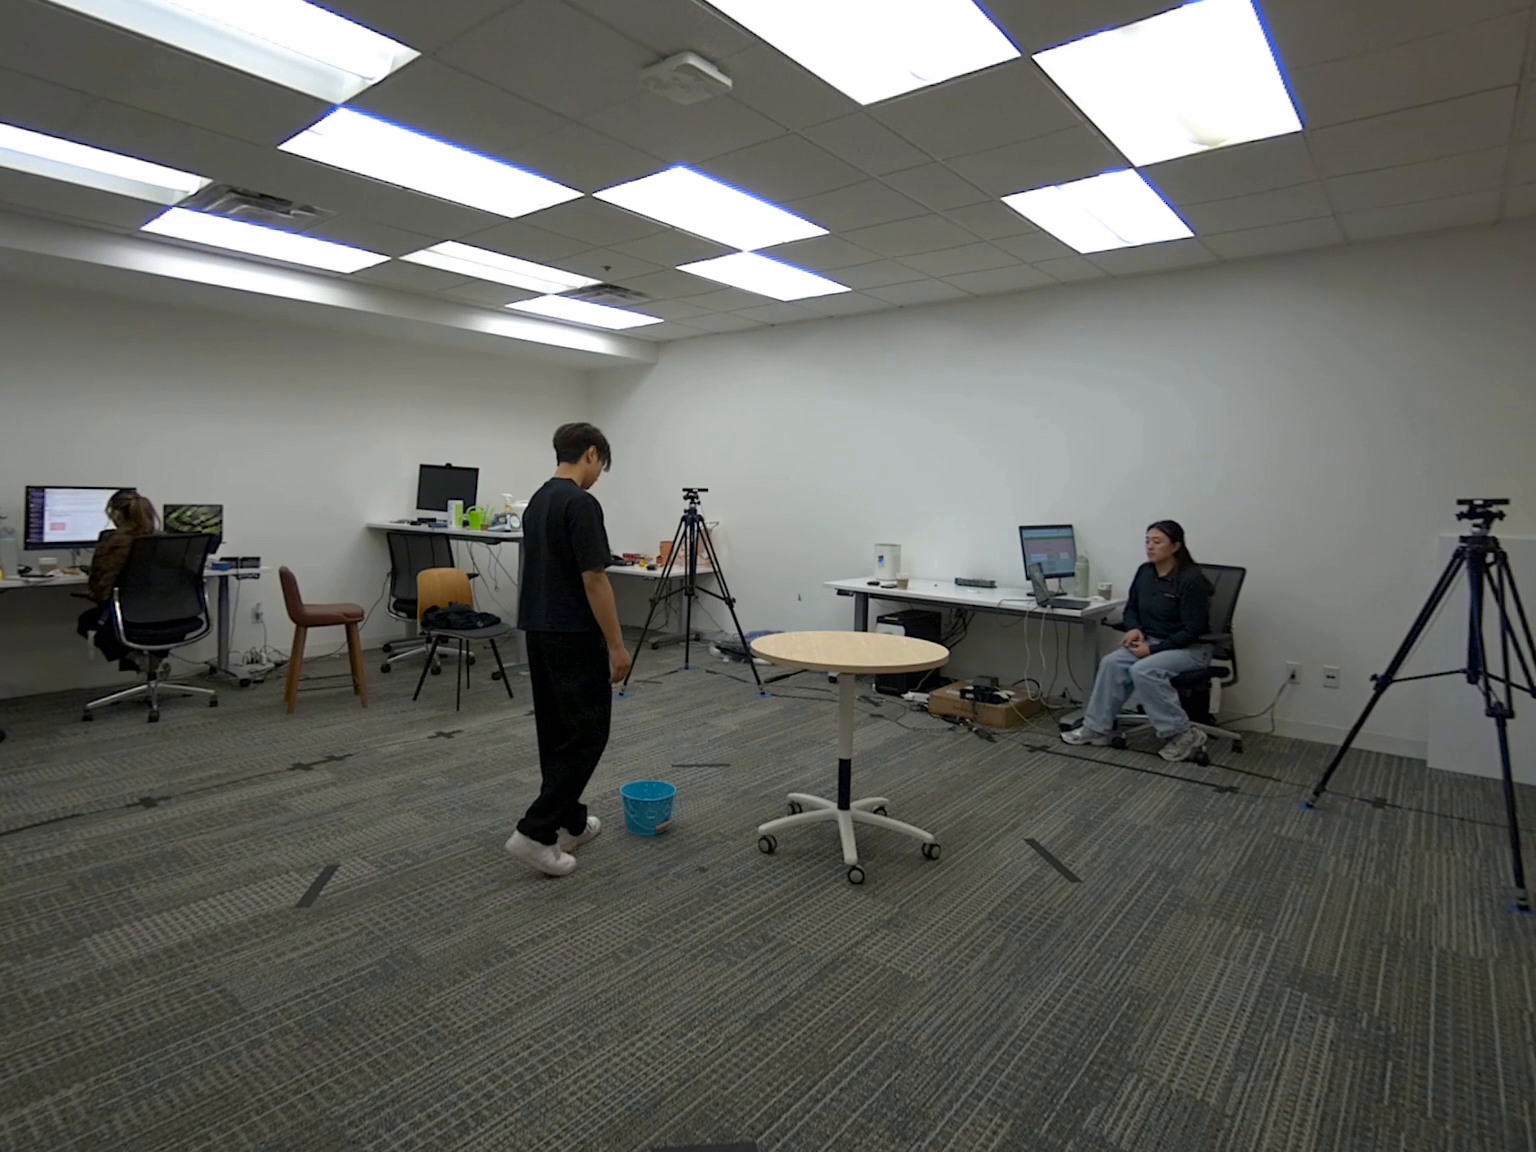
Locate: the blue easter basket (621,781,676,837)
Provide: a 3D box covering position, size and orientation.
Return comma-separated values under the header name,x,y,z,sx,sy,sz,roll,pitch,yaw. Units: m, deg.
name,x,y,z,sx,sy,sz,roll,pitch,yaw
blue easter basket,-0.506,0.949,3.493,0.243,0.155,0.245,1,5,-2
